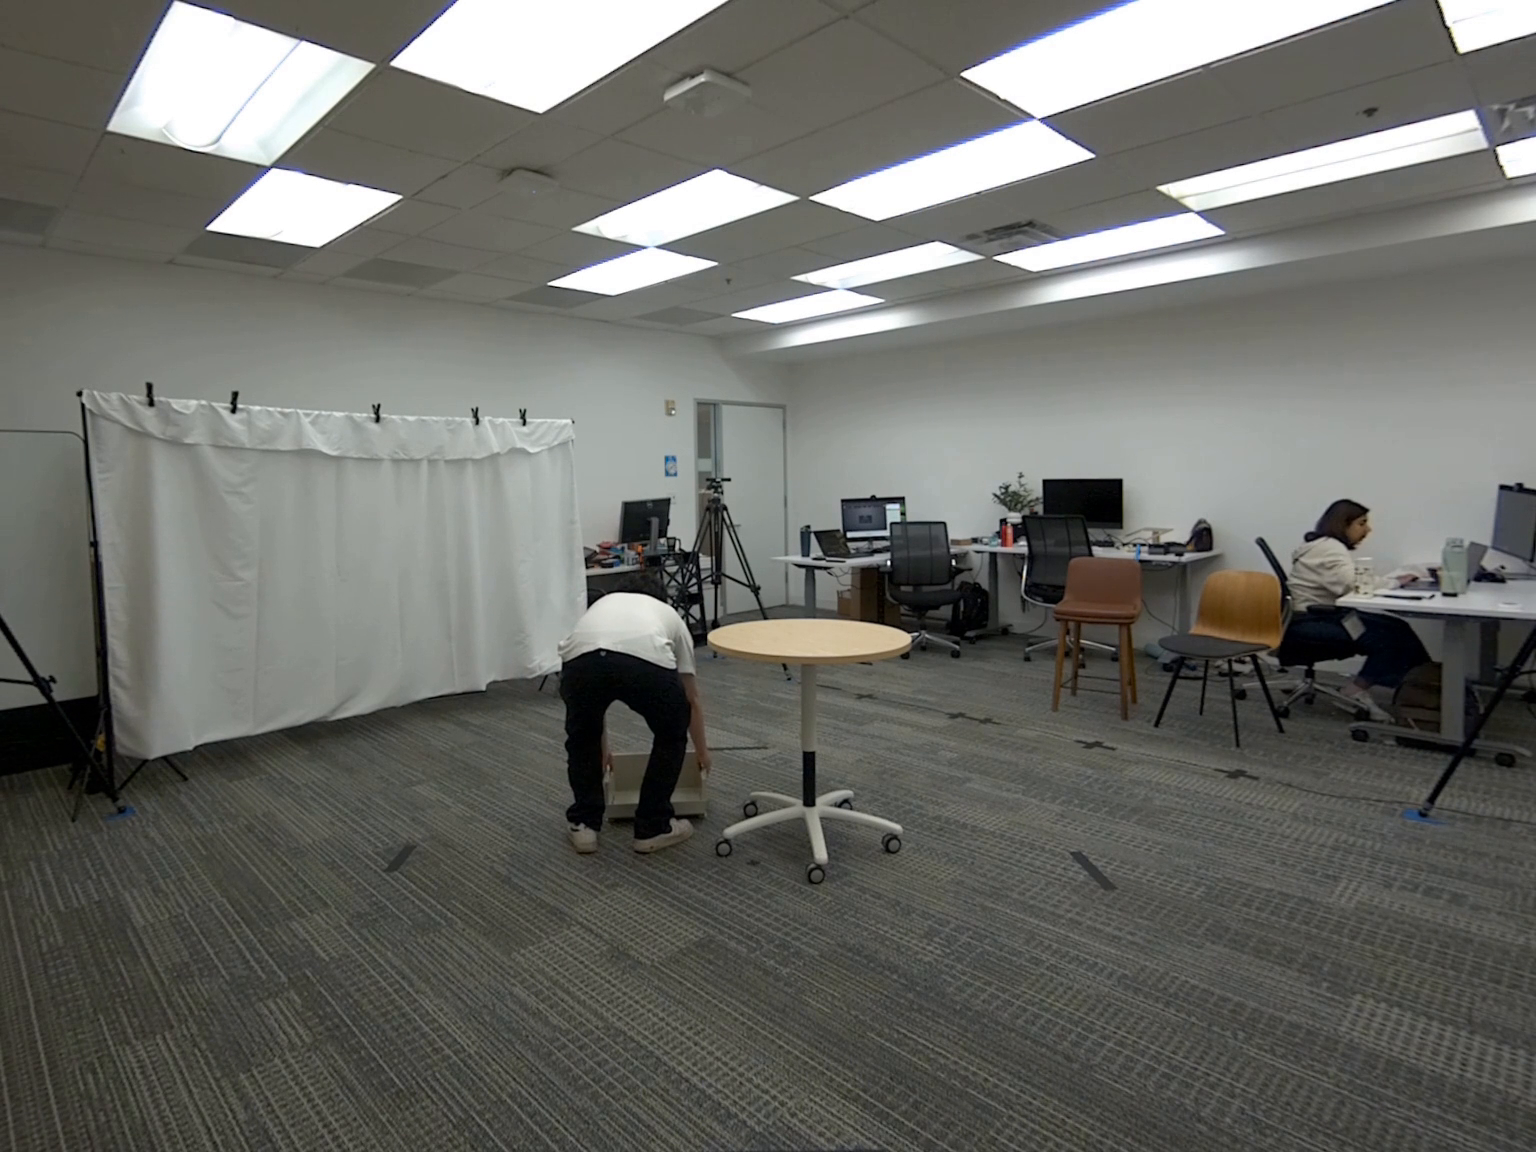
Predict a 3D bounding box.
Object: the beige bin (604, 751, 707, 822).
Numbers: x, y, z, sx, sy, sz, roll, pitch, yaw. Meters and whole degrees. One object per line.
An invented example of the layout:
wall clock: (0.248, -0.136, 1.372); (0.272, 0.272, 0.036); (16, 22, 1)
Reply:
beige bin: (-0.476, 0.895, 3.649); (0.420, 0.188, 0.380); (-3, 5, -5)
